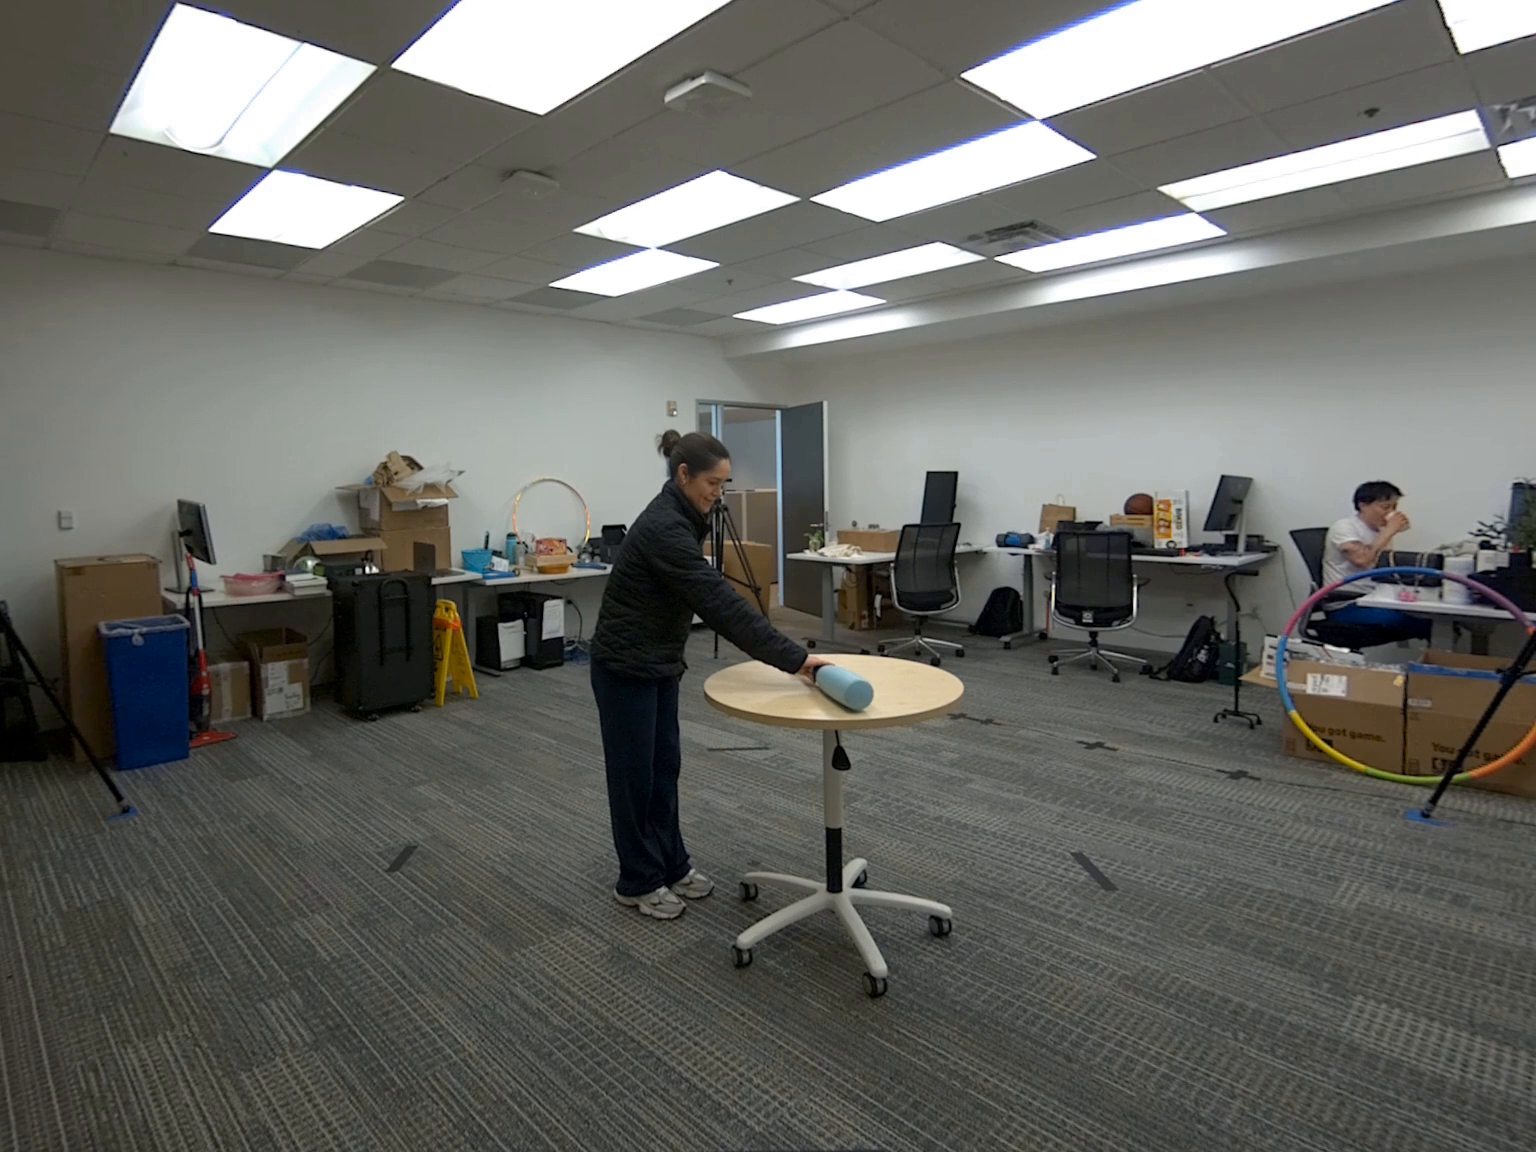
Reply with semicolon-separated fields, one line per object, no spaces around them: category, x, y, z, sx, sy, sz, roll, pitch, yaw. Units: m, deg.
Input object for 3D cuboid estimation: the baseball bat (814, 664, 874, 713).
baseball bat;0.186;0.299;2.475;0.088;0.089;0.551;-2;4;-15
